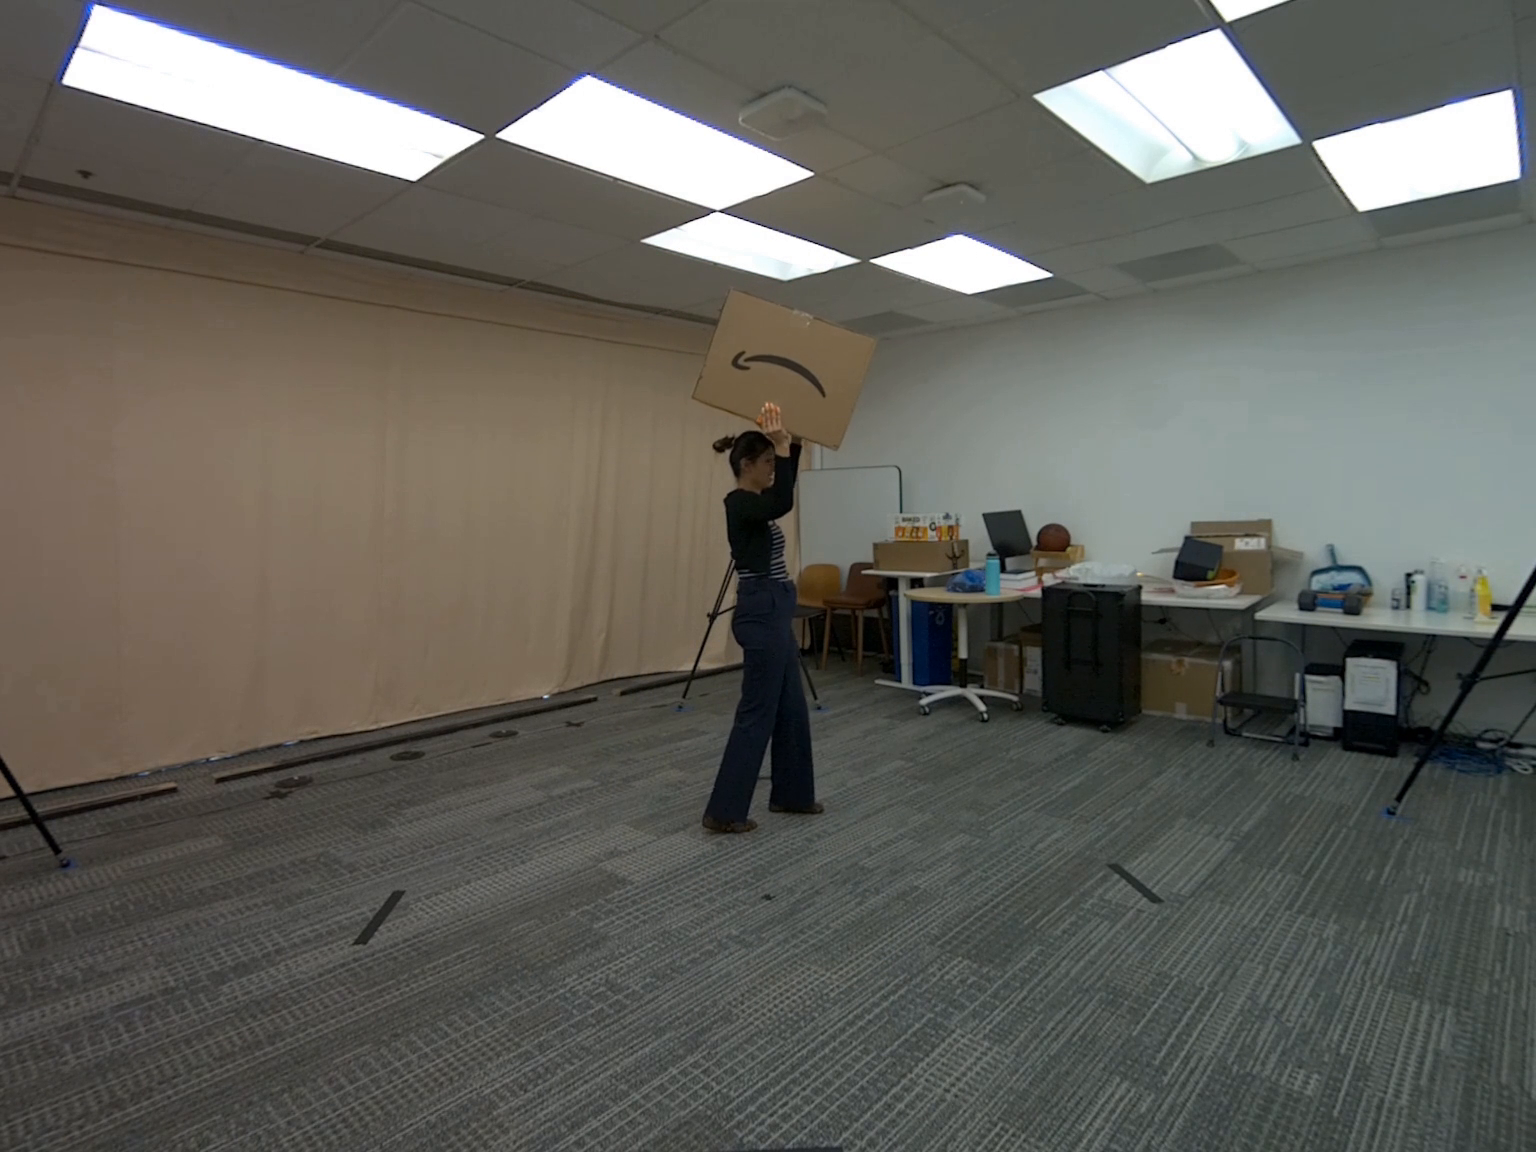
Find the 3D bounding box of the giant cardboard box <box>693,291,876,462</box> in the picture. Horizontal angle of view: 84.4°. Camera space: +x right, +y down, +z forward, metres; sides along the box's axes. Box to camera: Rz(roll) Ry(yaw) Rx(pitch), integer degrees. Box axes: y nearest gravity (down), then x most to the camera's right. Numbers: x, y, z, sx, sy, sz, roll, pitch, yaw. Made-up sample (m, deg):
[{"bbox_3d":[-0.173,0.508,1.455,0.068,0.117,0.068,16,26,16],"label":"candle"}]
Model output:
[{"bbox_3d":[0.082,-0.849,3.567,0.579,0.425,1.026,20,13,0],"label":"giant cardboard box"}]
